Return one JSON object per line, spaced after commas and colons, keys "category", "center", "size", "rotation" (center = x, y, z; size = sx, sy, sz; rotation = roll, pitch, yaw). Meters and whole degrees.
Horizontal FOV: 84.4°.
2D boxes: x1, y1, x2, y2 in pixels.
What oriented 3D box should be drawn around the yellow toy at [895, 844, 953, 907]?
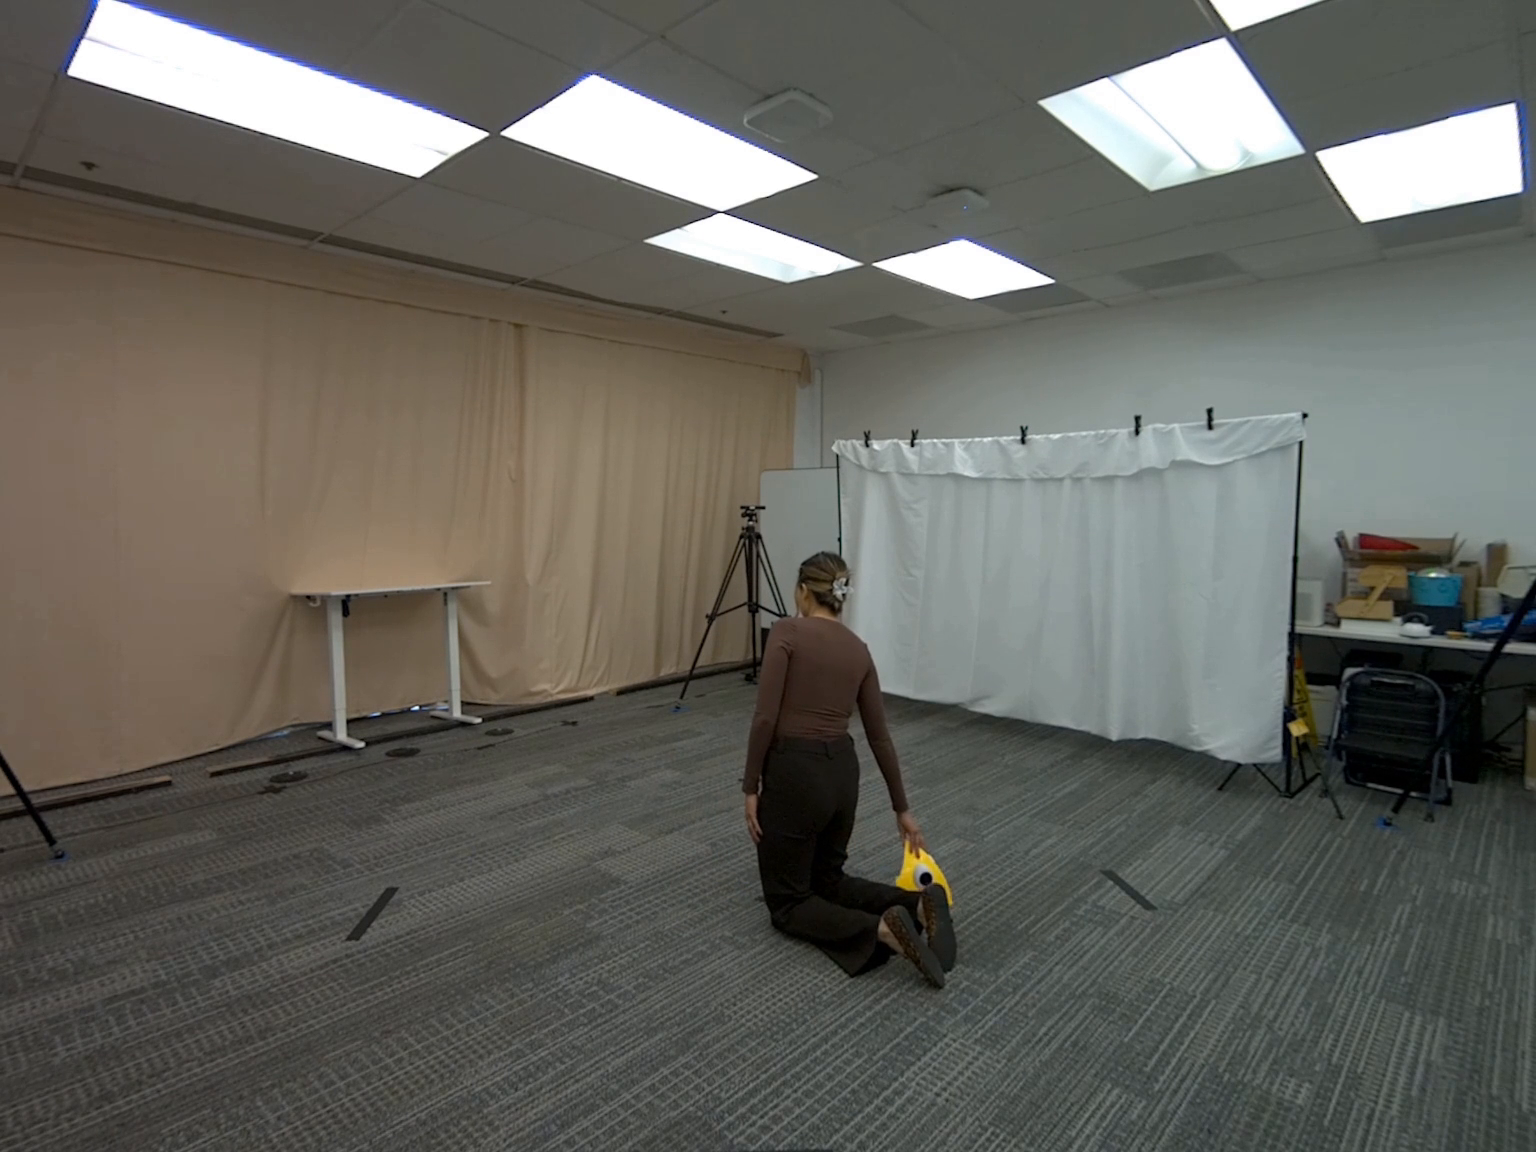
{"category": "yellow toy", "center": [0.543, 1.037, 2.907], "size": [0.197, 0.230, 0.201], "rotation": [1, 4, 19]}
